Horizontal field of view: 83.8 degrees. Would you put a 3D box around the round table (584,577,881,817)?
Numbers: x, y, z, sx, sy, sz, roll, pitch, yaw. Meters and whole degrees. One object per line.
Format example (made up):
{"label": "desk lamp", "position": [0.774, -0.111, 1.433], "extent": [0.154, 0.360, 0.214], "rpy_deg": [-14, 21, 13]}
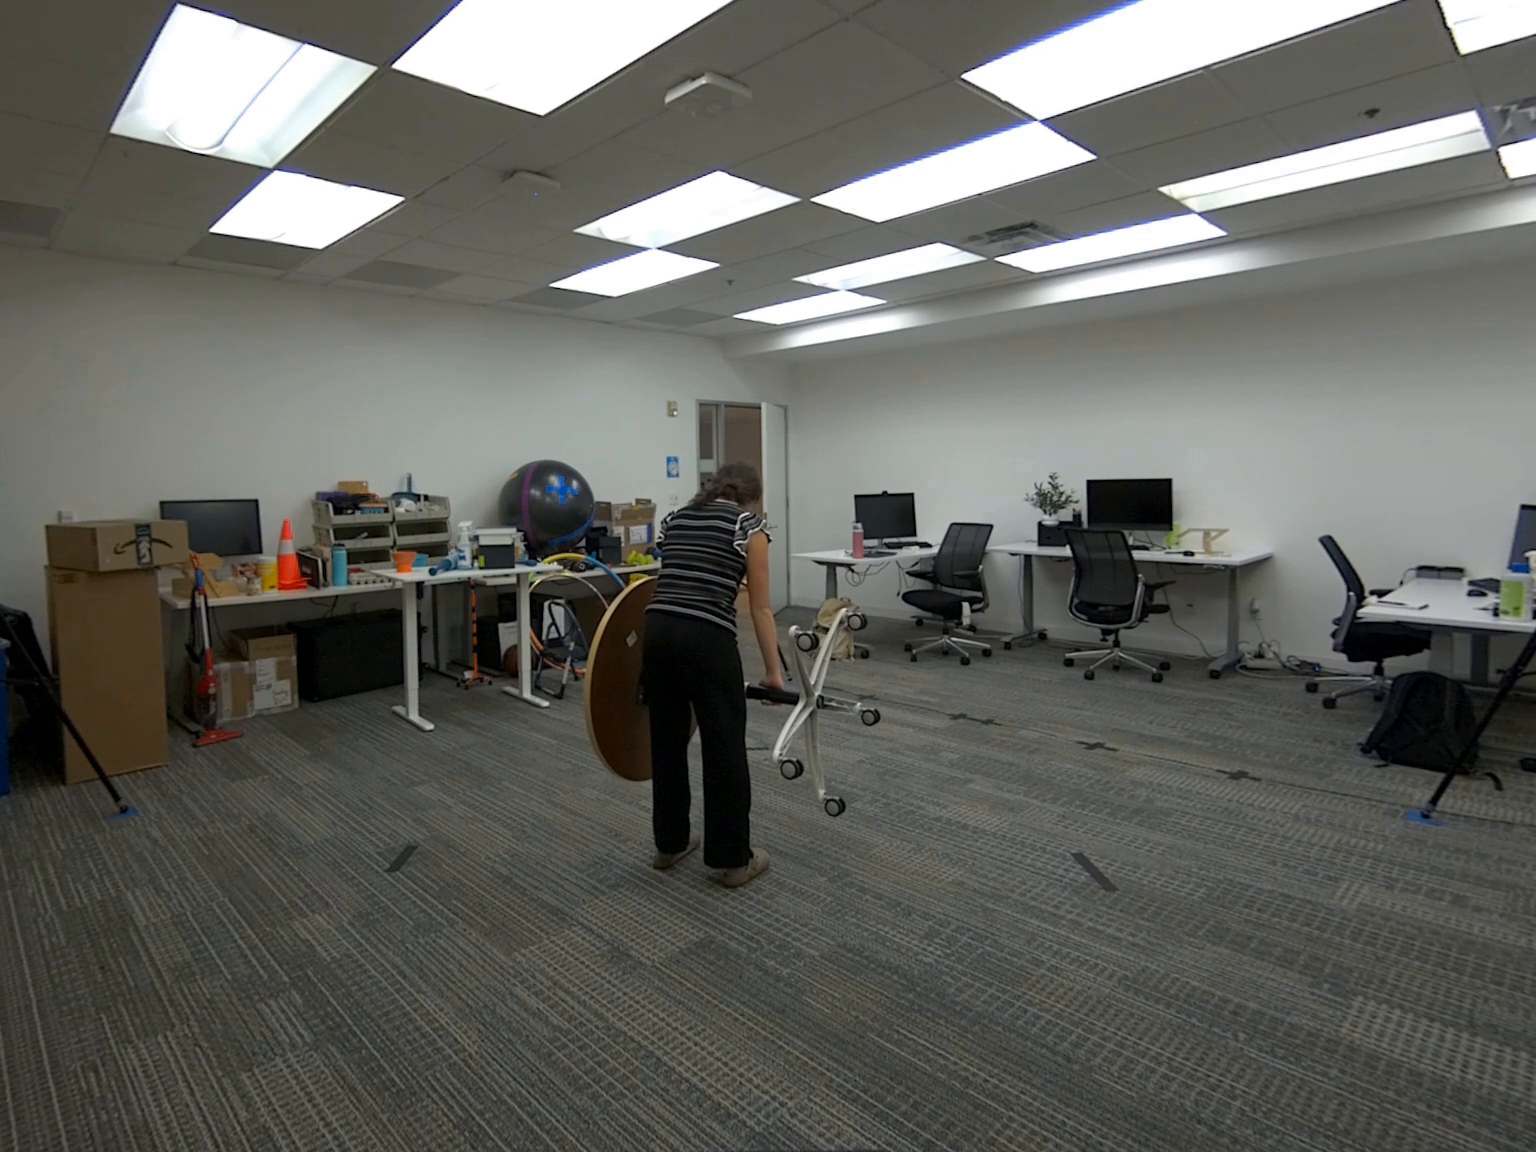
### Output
{"label": "round table", "position": [-0.097, 0.416, 3.042], "extent": [0.816, 0.761, 0.746], "rpy_deg": [3, 6, 31]}
